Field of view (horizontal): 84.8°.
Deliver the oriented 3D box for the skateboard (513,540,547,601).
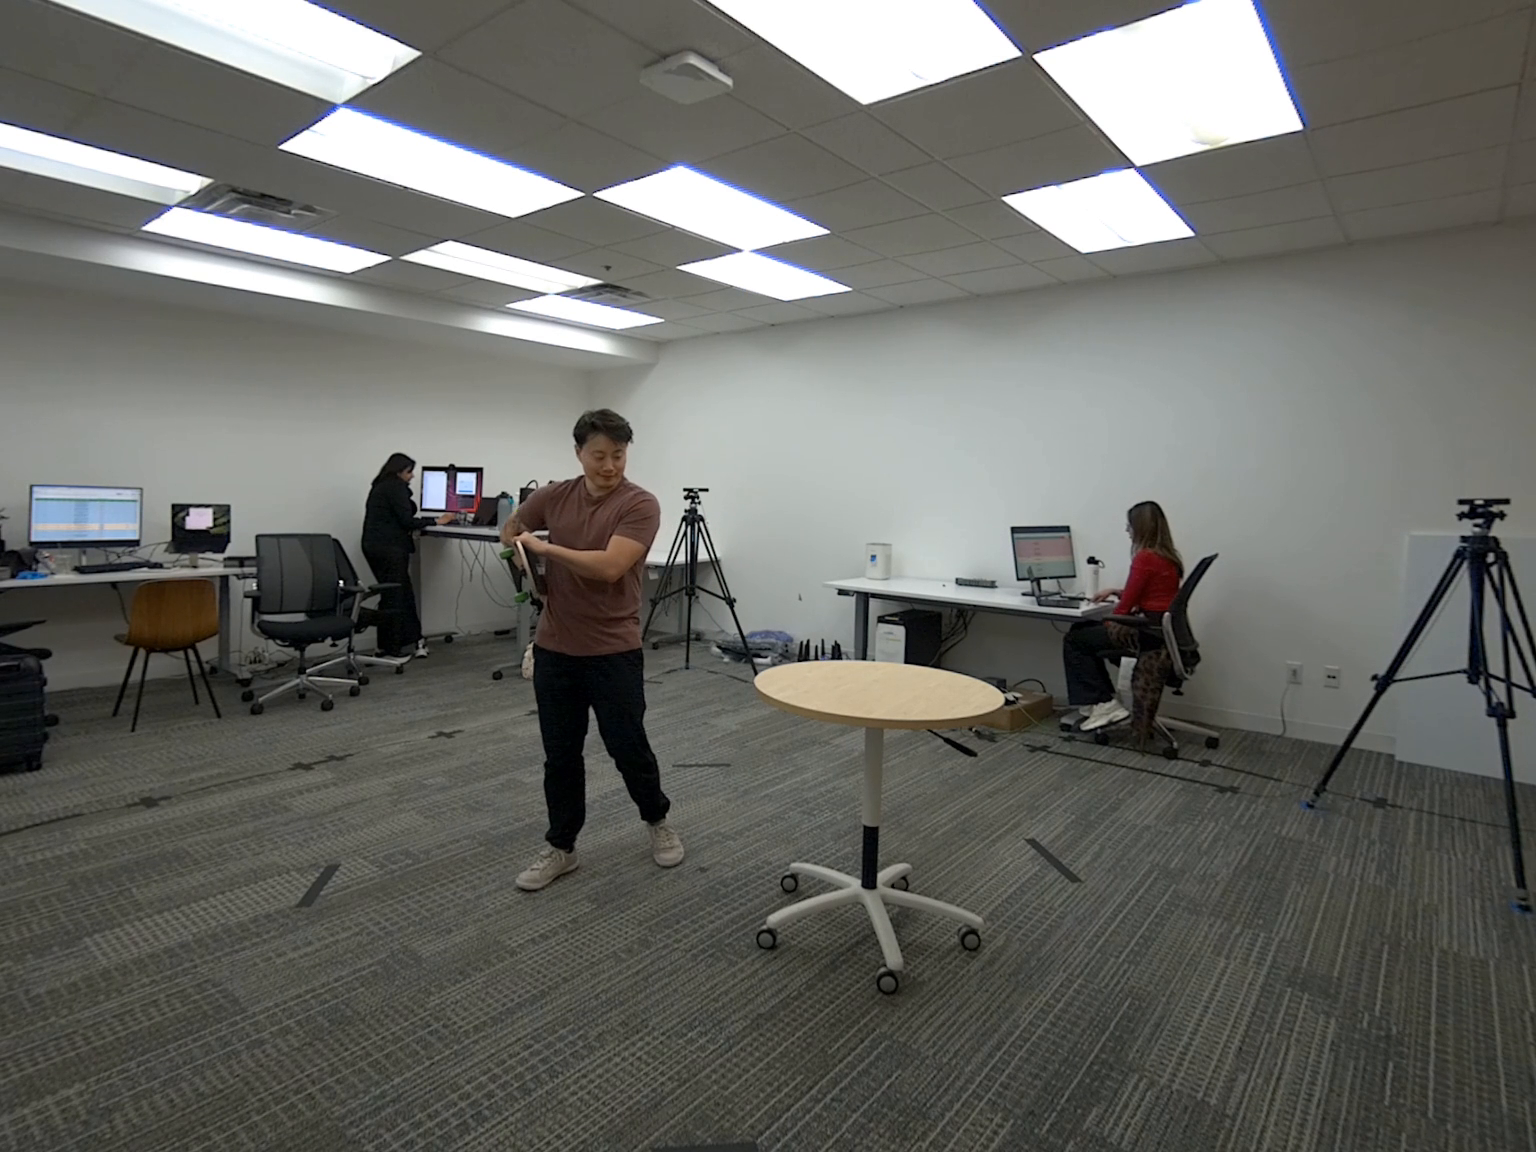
[{"bbox_3d":[-0.857,-0.012,3.059,0.110,0.194,0.788,-19,1,-7],"label":"skateboard"}]
